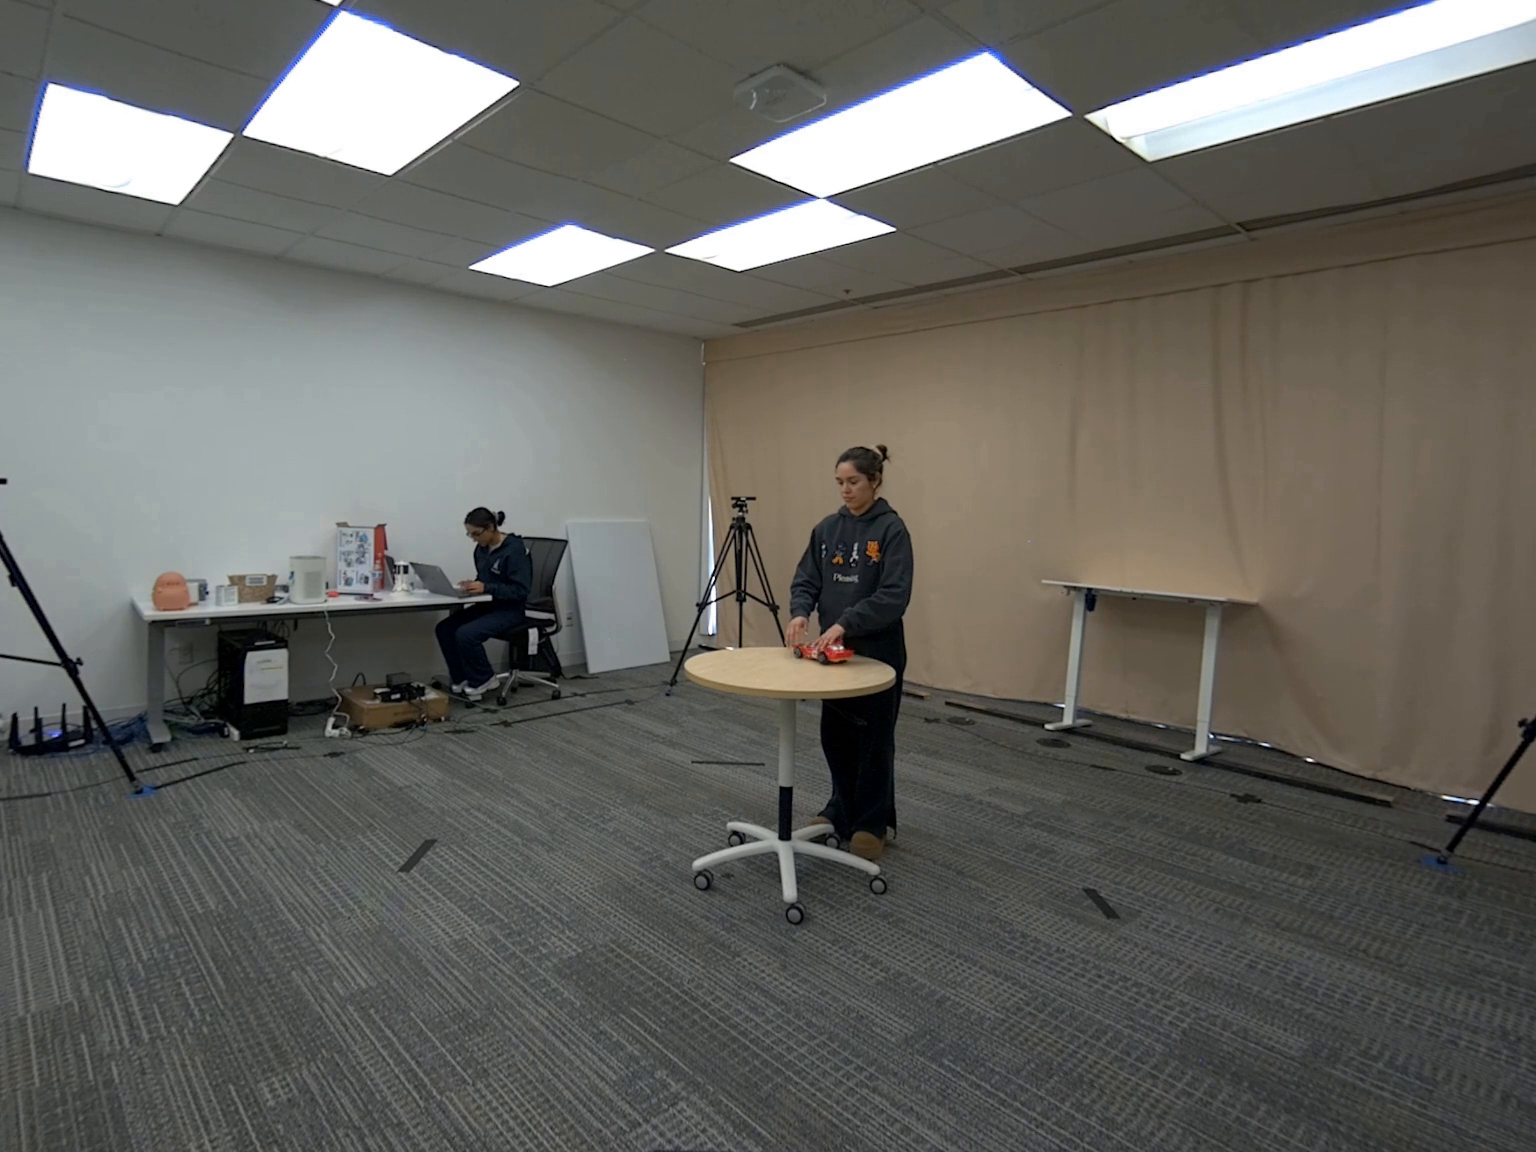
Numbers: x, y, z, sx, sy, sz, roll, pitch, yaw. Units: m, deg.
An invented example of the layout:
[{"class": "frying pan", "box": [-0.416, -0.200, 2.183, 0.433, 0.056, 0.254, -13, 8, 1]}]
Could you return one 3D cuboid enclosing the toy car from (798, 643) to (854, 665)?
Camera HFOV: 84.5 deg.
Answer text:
[{"class": "toy car", "box": [0.200, 0.292, 3.190, 0.127, 0.083, 0.259, -2, -5, -38]}]
